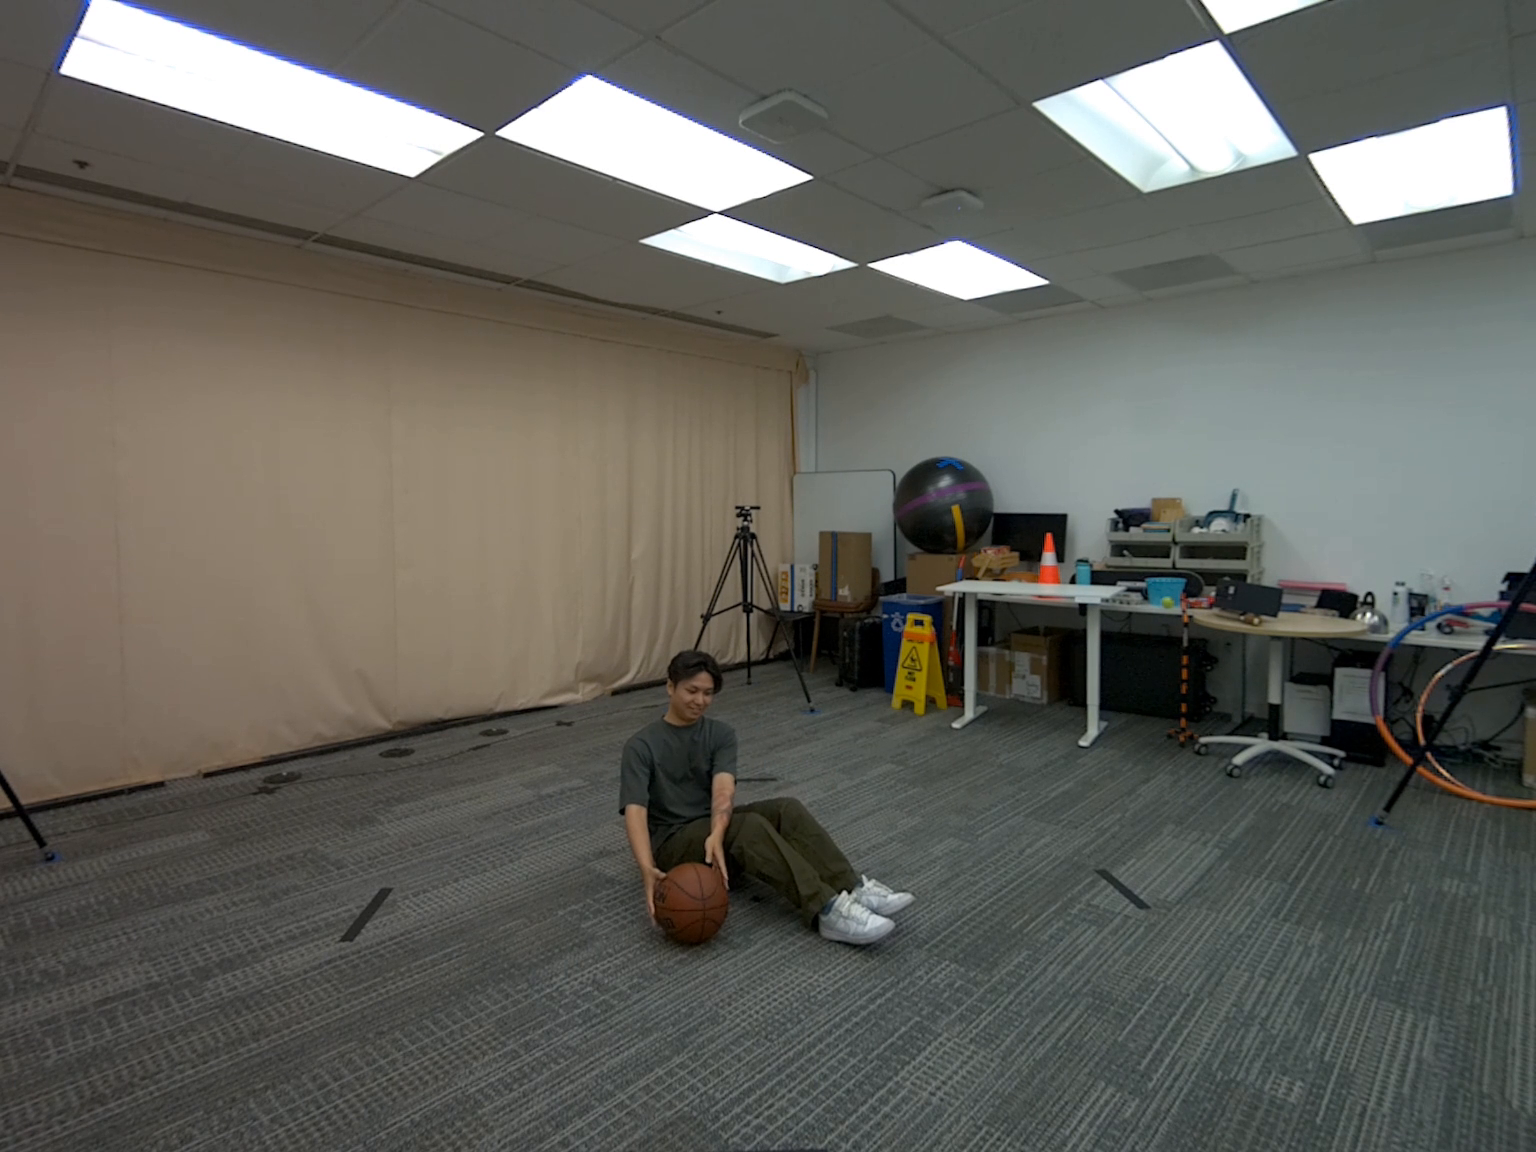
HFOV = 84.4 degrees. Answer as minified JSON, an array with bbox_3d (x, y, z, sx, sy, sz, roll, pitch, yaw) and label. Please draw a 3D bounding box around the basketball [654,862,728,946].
[{"bbox_3d":[-0.238,1.047,2.706,0.236,0.235,0.237,0,4,-2],"label":"basketball"}]
